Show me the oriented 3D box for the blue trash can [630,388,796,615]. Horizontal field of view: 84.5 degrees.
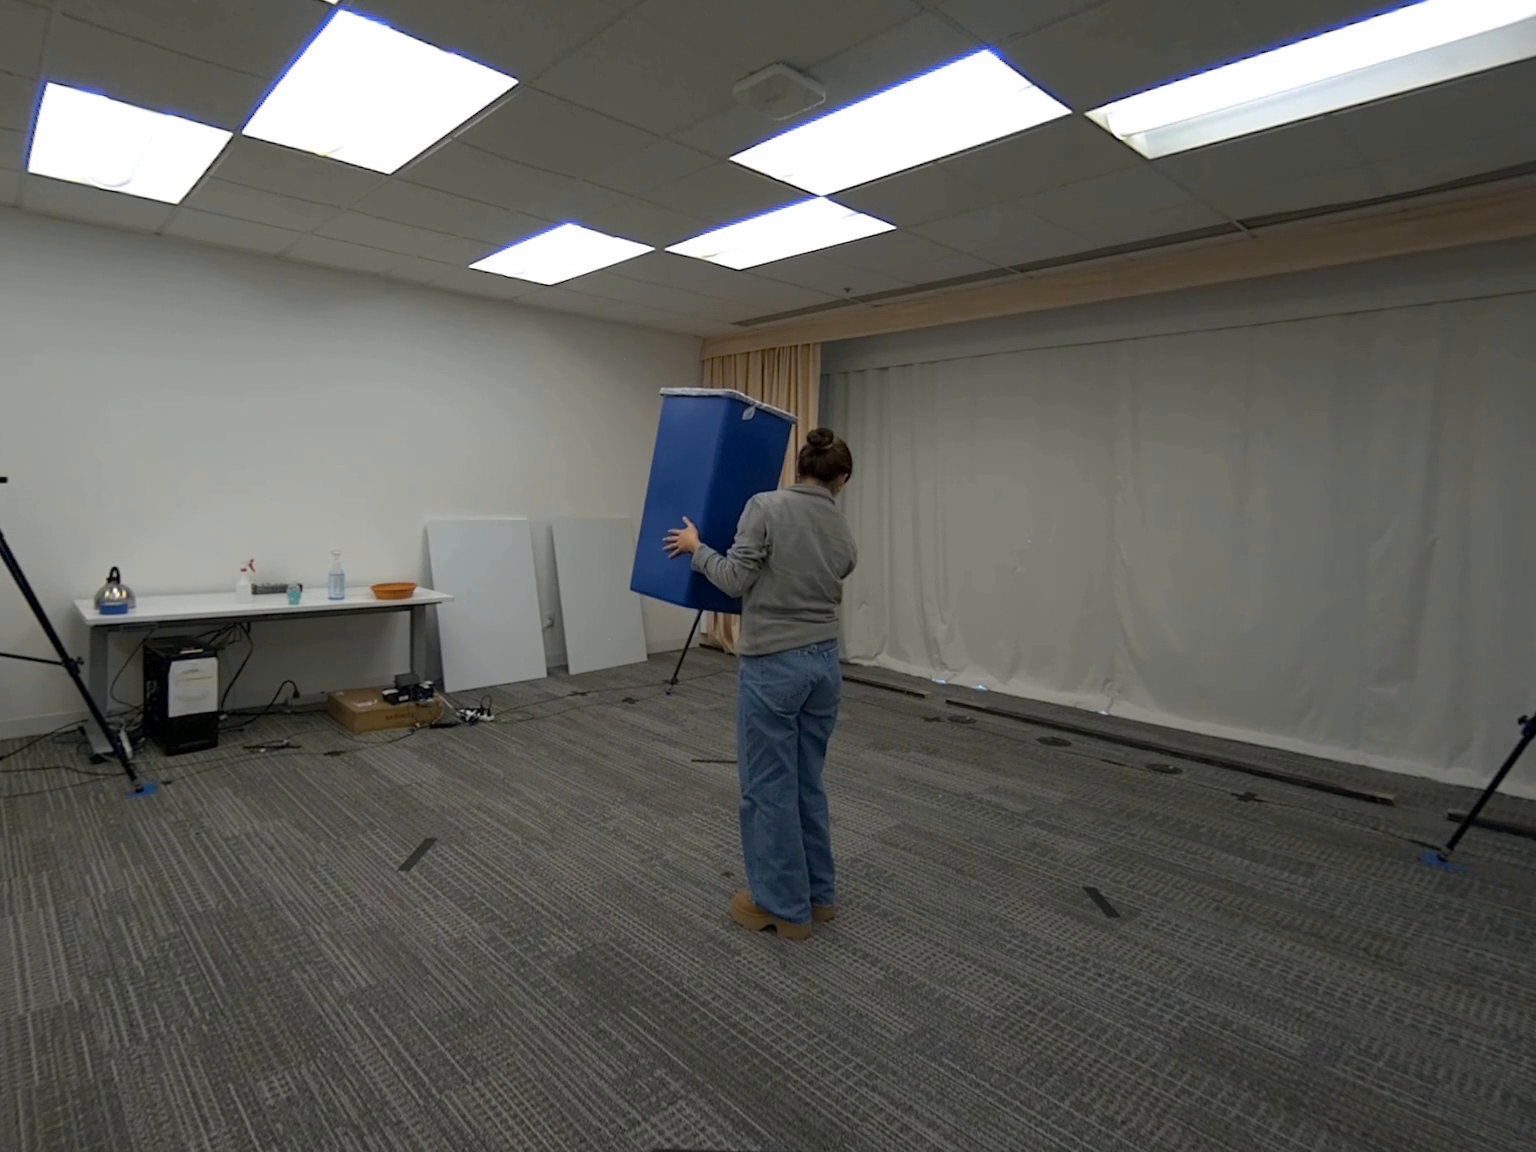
[{"bbox_3d":[-0.213,-0.261,2.924,0.384,0.714,0.367,12,-1,43],"label":"blue trash can"}]
